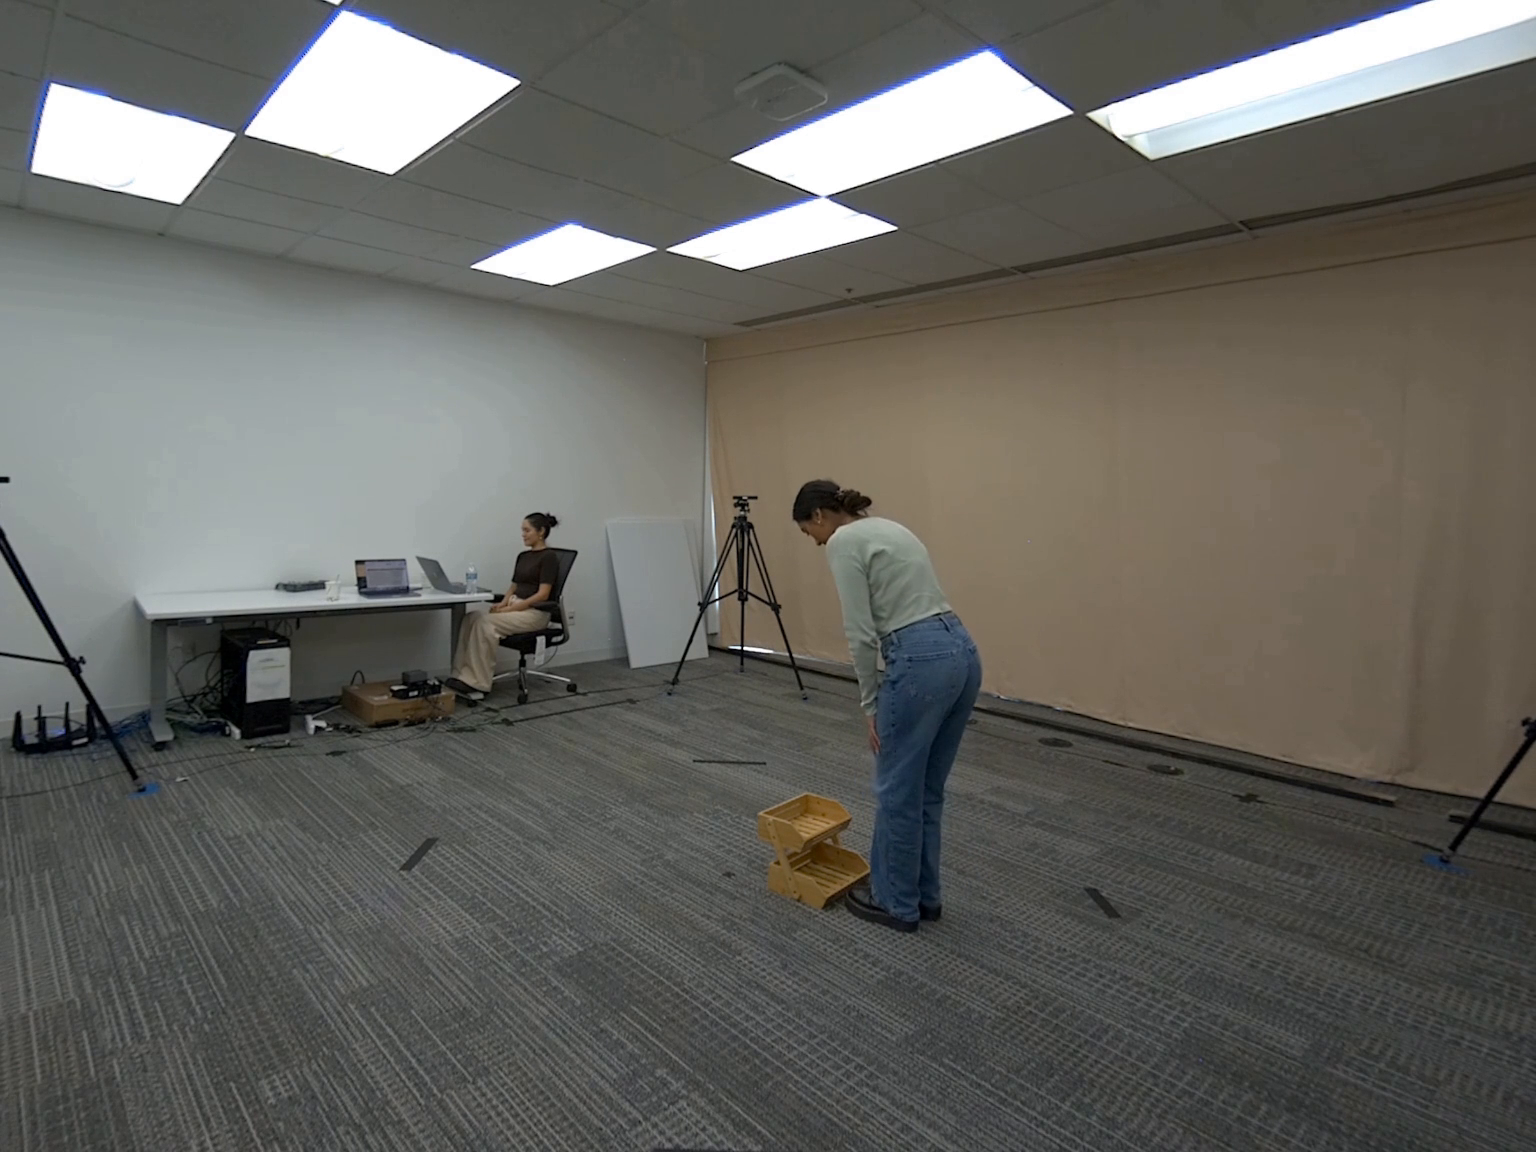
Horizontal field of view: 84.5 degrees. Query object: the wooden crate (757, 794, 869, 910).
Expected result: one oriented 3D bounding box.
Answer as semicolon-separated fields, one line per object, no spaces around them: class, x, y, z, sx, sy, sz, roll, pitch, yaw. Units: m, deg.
wooden crate;0.166;0.981;3.044;0.309;0.272;0.317;4;5;39
